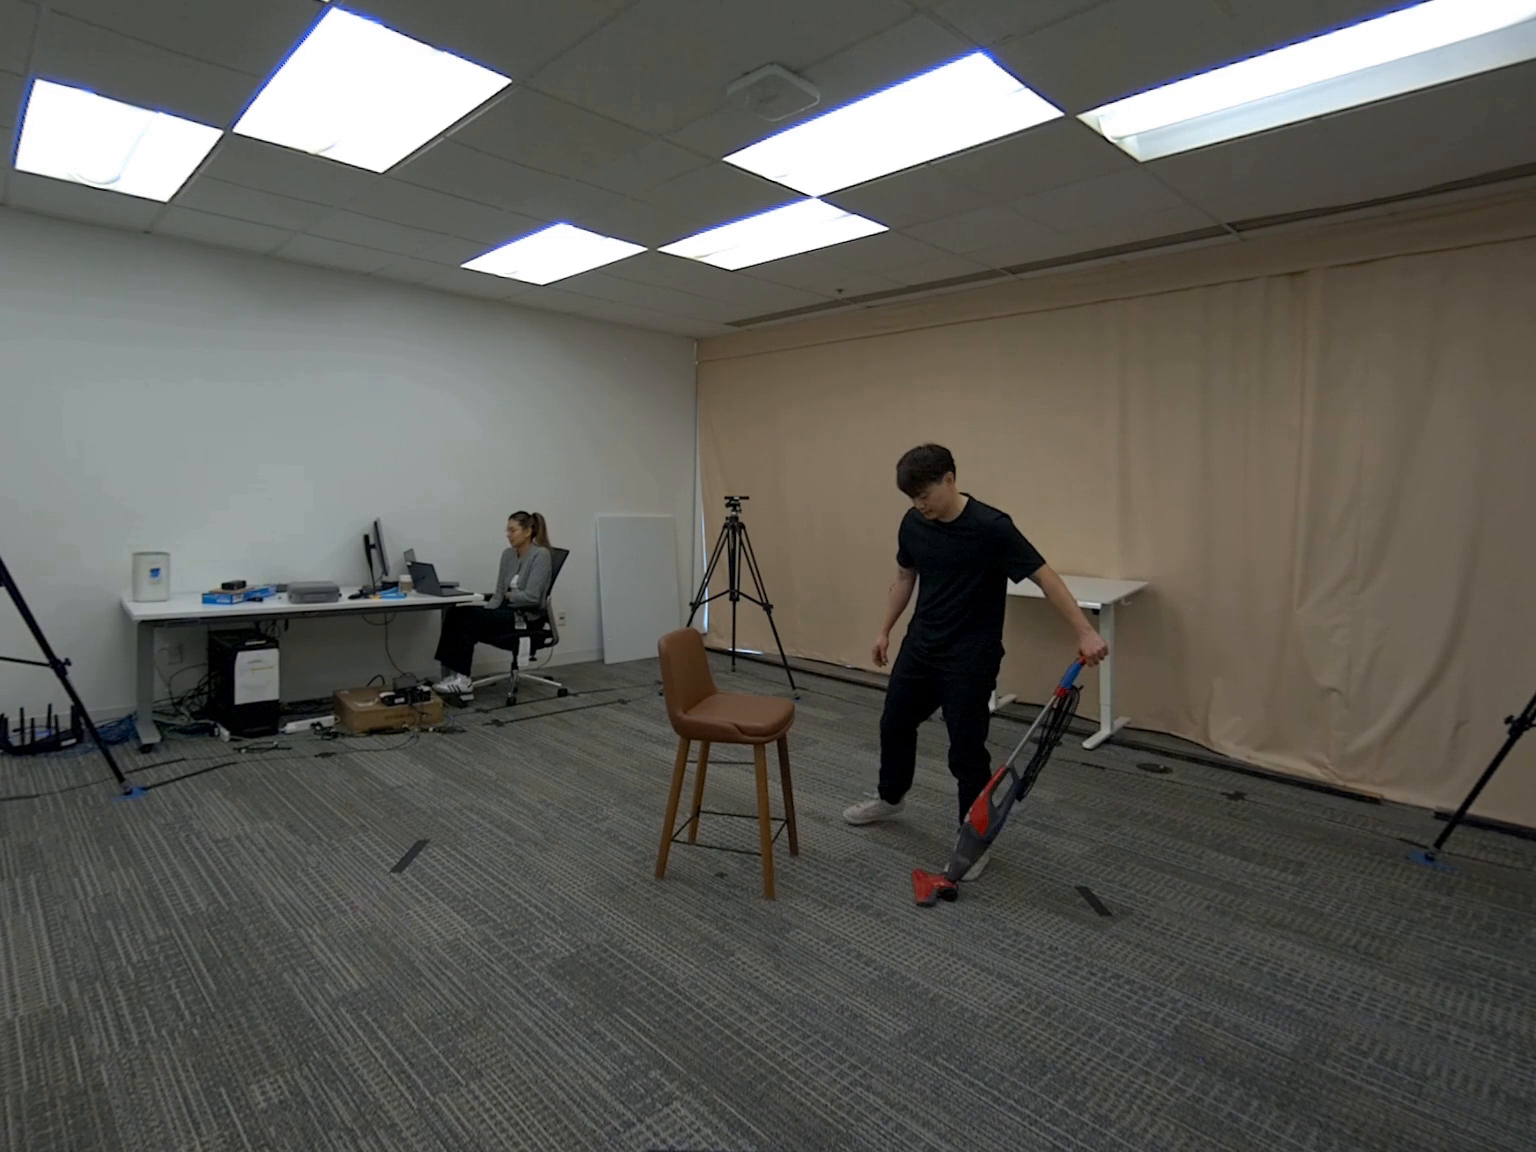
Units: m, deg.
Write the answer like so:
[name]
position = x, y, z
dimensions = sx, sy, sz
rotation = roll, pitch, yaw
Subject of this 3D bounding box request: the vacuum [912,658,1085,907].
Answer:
[vacuum]
position = 0.851, 0.696, 2.954
dimensions = 0.146, 1.048, 0.250
rotation = 35, 7, 10
